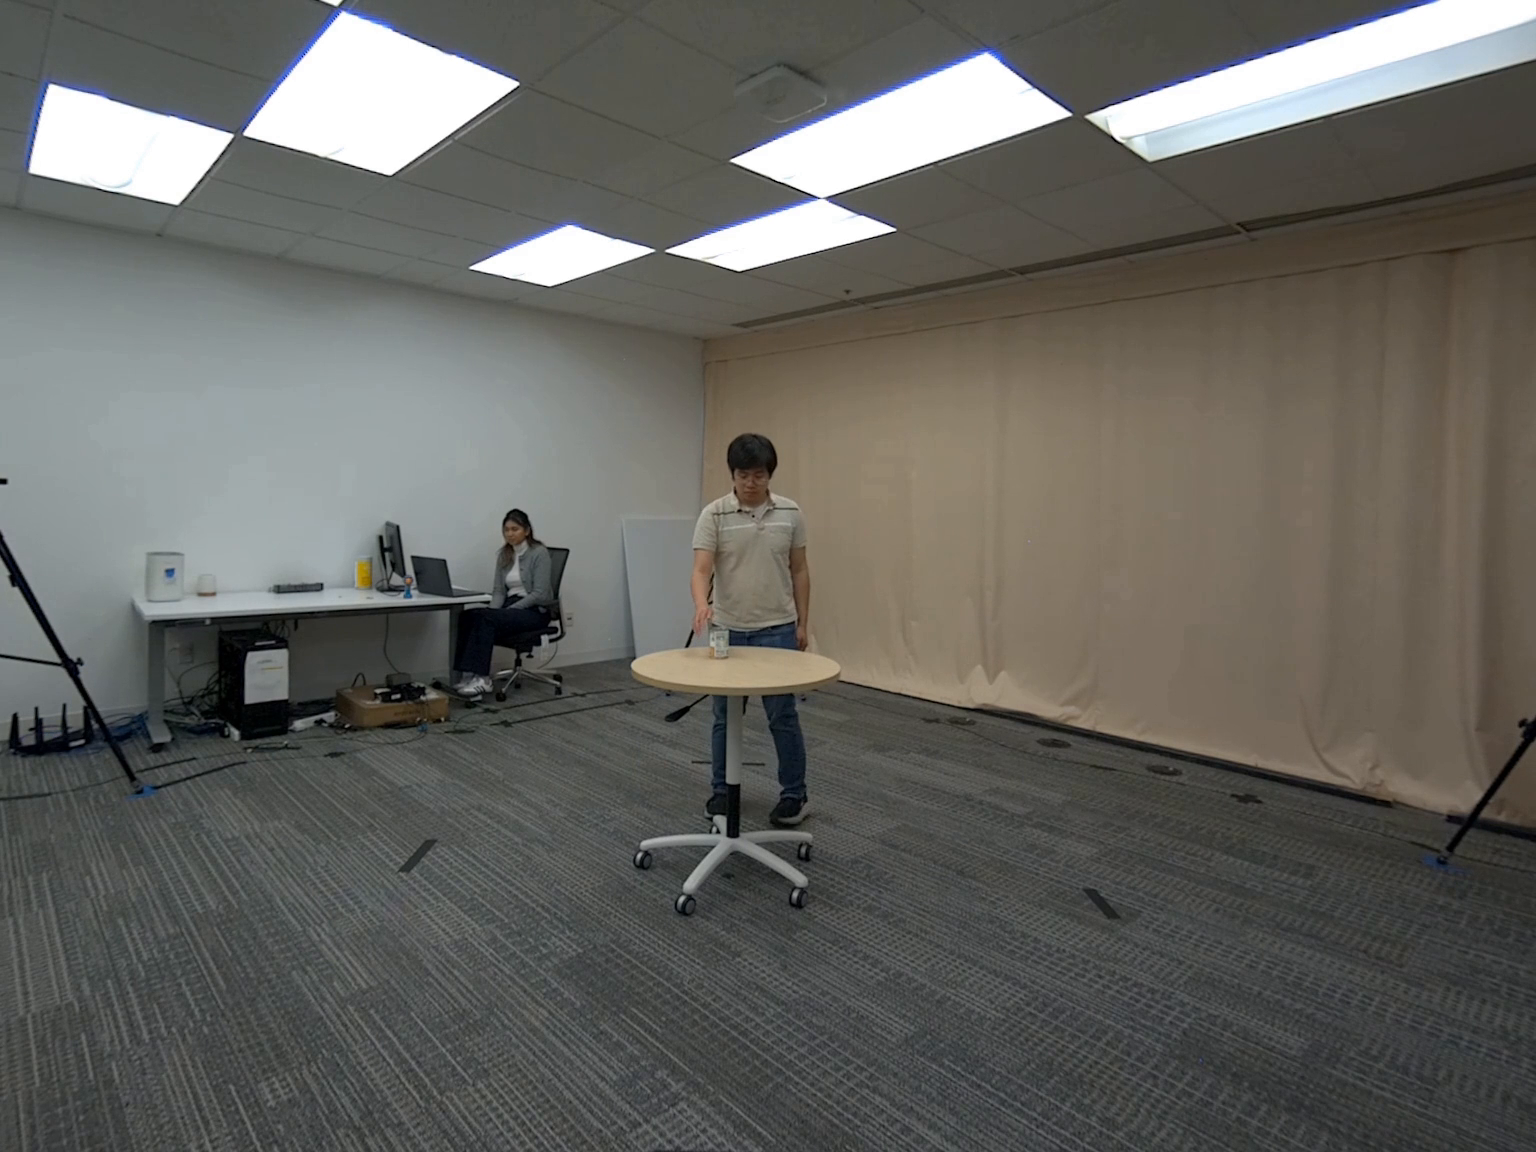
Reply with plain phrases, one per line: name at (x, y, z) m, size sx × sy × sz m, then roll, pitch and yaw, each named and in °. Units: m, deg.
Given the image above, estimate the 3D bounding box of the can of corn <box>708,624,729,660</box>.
can of corn at (-0.205, 0.262, 3.222) m, size 0.074 × 0.111 × 0.074 m, roll -5°, pitch 1°, yaw -1°
